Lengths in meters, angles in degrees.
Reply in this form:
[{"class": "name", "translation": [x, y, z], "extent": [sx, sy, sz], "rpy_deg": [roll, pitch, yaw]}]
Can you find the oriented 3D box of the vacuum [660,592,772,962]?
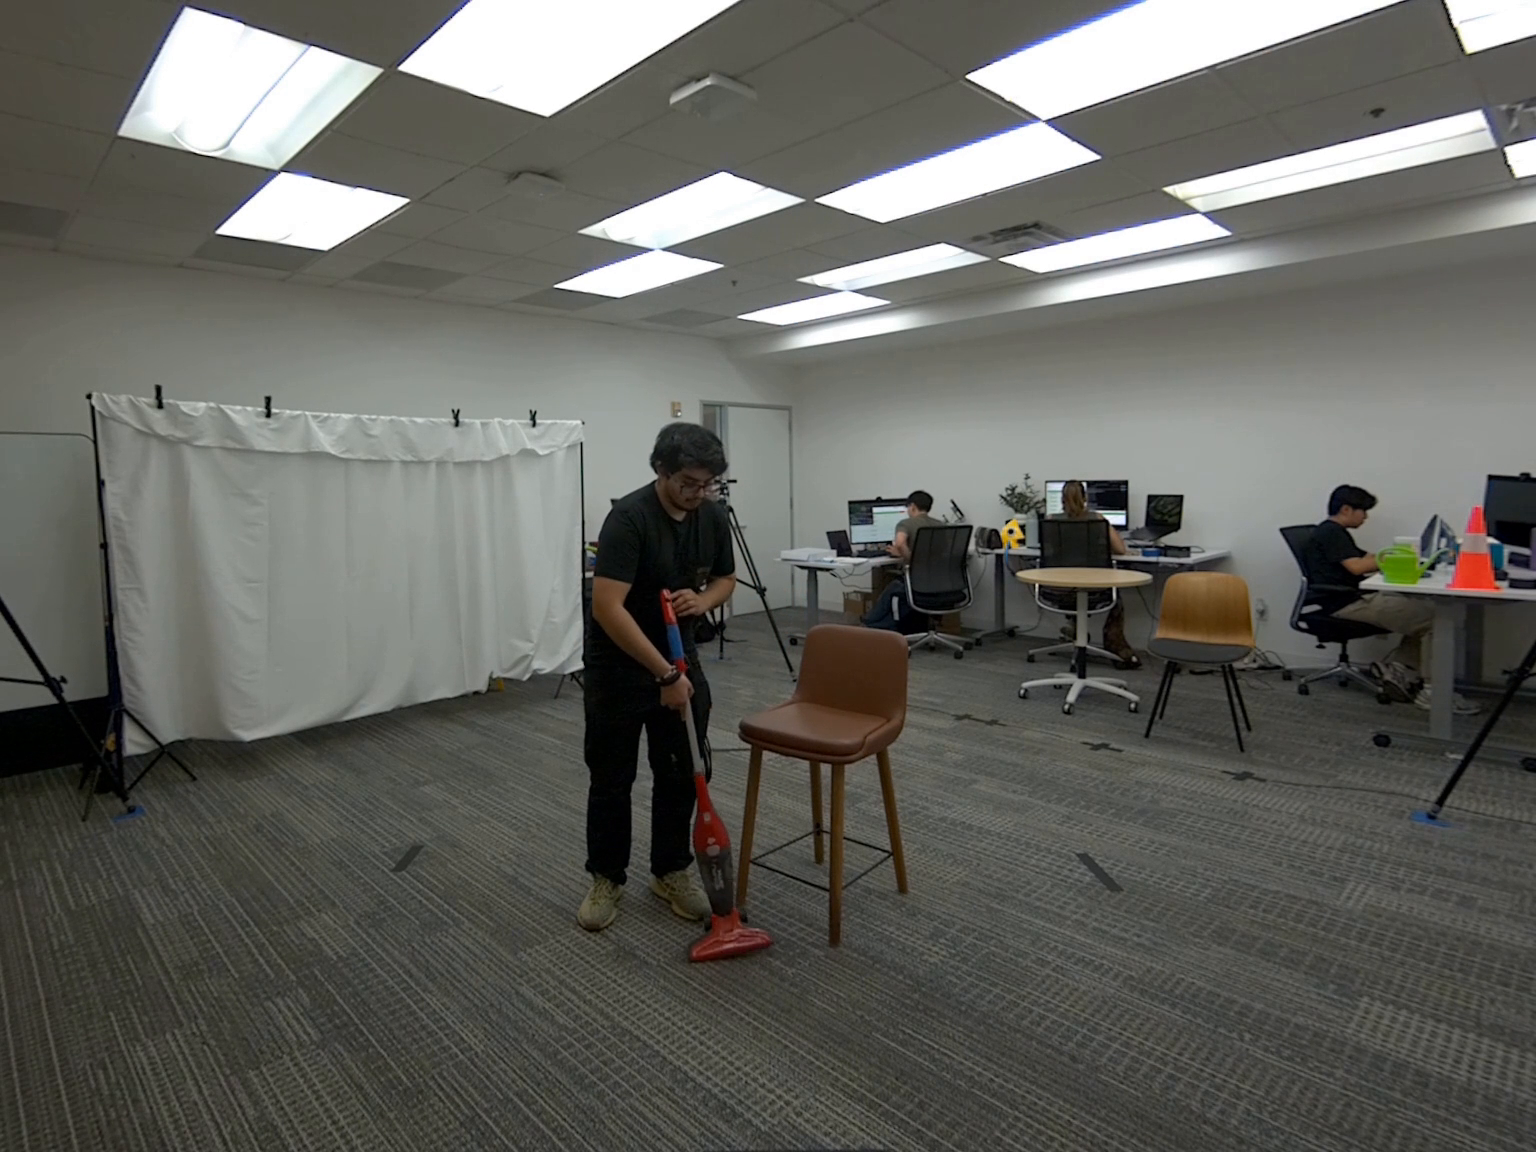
[{"class": "vacuum", "translation": [-0.195, 0.585, 2.543], "extent": [0.252, 1.047, 0.145], "rpy_deg": [-8, 2, -4]}]
